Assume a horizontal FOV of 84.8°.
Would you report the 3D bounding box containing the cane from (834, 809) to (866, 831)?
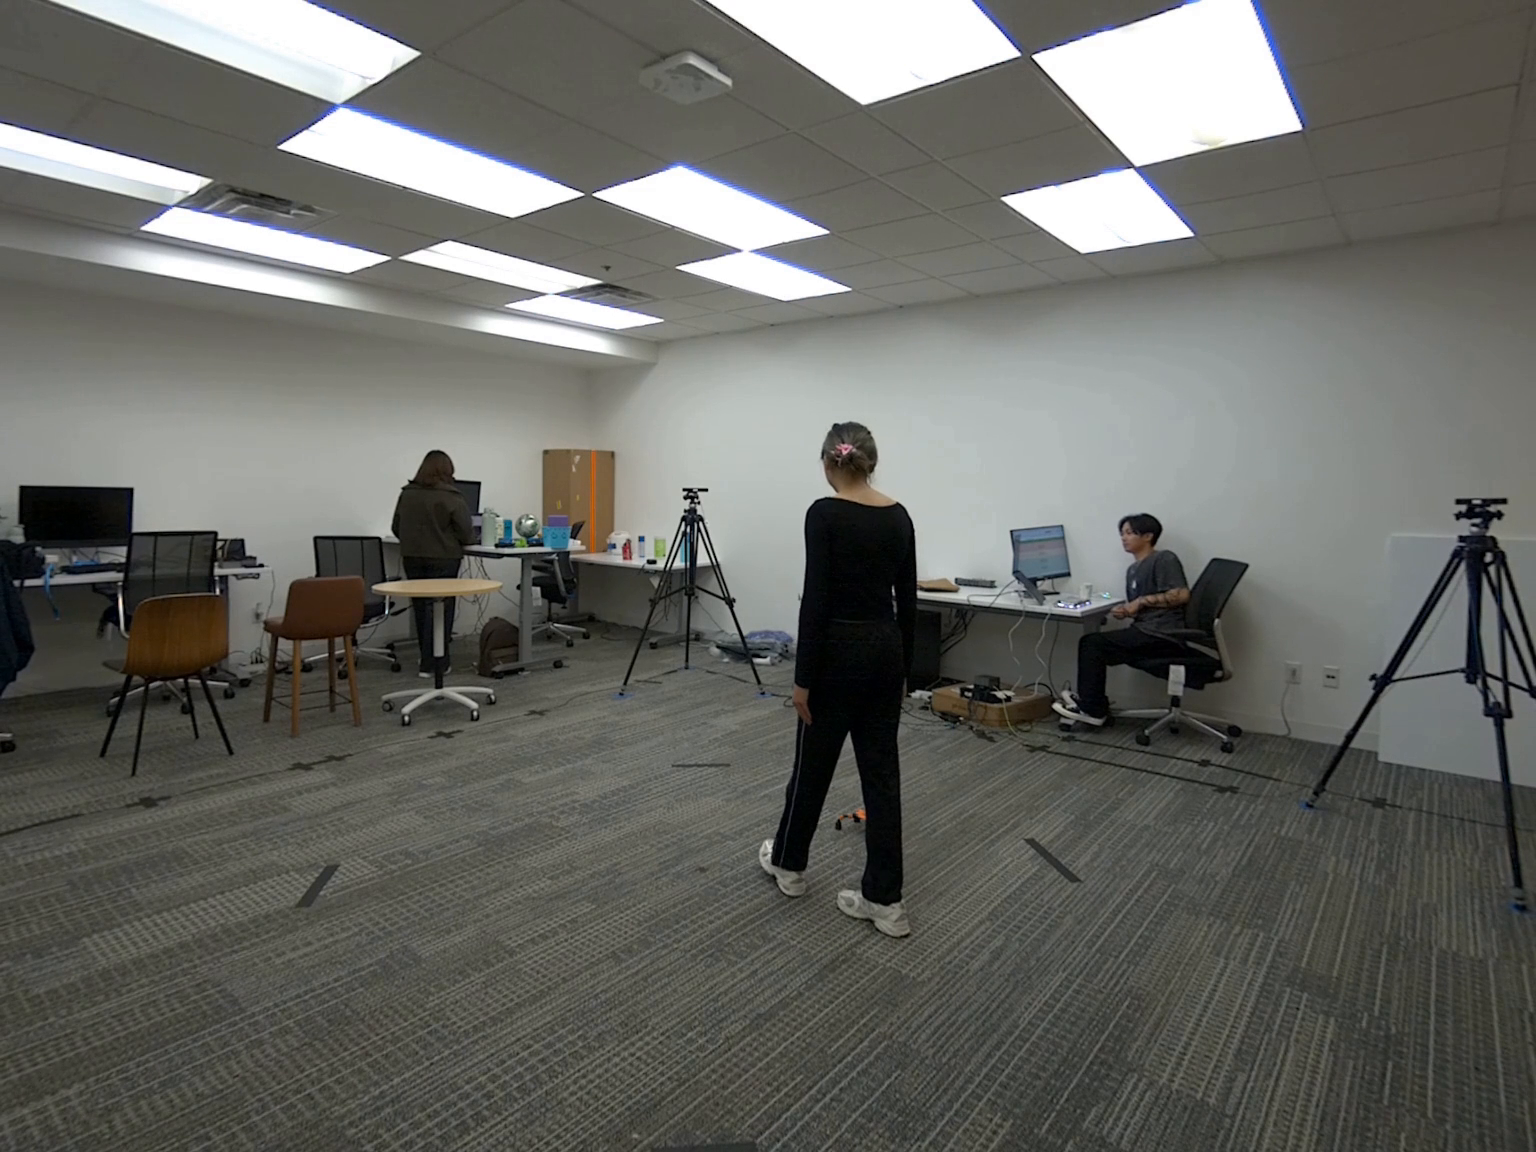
[{"bbox_3d":[0.392,0.586,3.468,0.147,0.905,0.213,-1,4,-44],"label":"cane"}]
